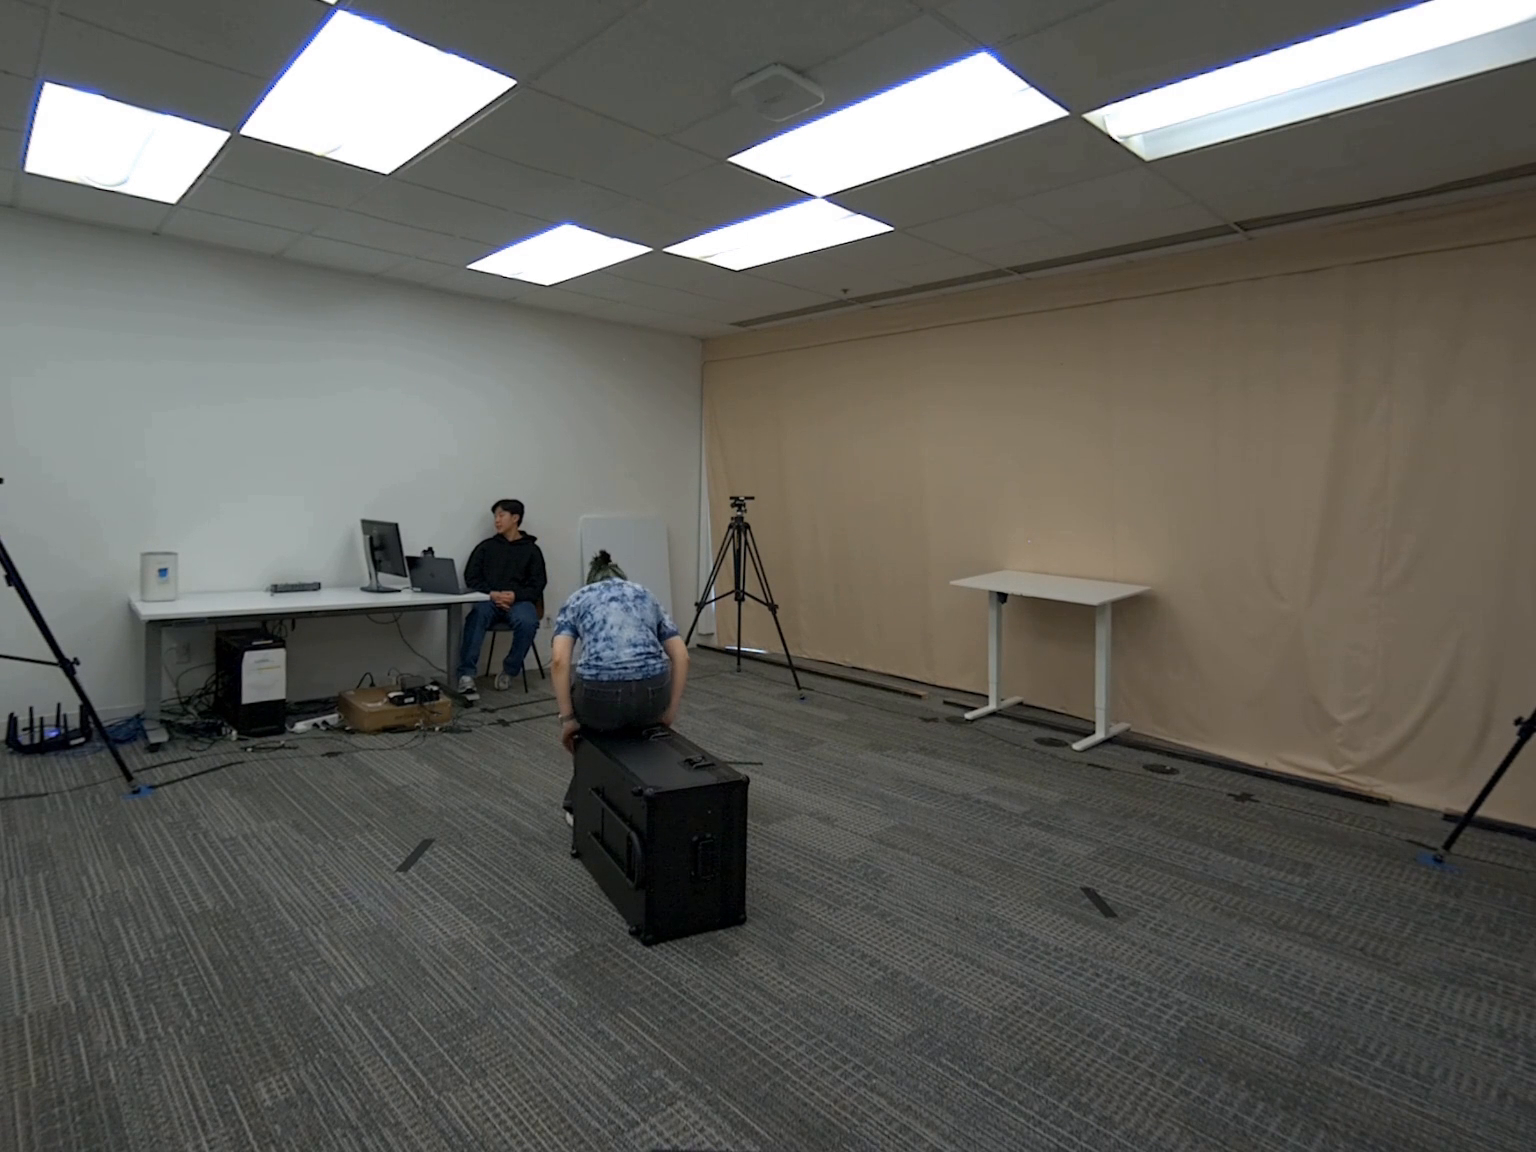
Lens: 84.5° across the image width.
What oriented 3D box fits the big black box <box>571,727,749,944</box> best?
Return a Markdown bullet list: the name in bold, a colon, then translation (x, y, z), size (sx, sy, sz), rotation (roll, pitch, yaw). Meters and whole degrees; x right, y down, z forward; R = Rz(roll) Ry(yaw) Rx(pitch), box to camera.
- **big black box**: translation (-0.440, 0.865, 3.020), size (0.389, 0.520, 0.880), rotation (0, 4, -28)
